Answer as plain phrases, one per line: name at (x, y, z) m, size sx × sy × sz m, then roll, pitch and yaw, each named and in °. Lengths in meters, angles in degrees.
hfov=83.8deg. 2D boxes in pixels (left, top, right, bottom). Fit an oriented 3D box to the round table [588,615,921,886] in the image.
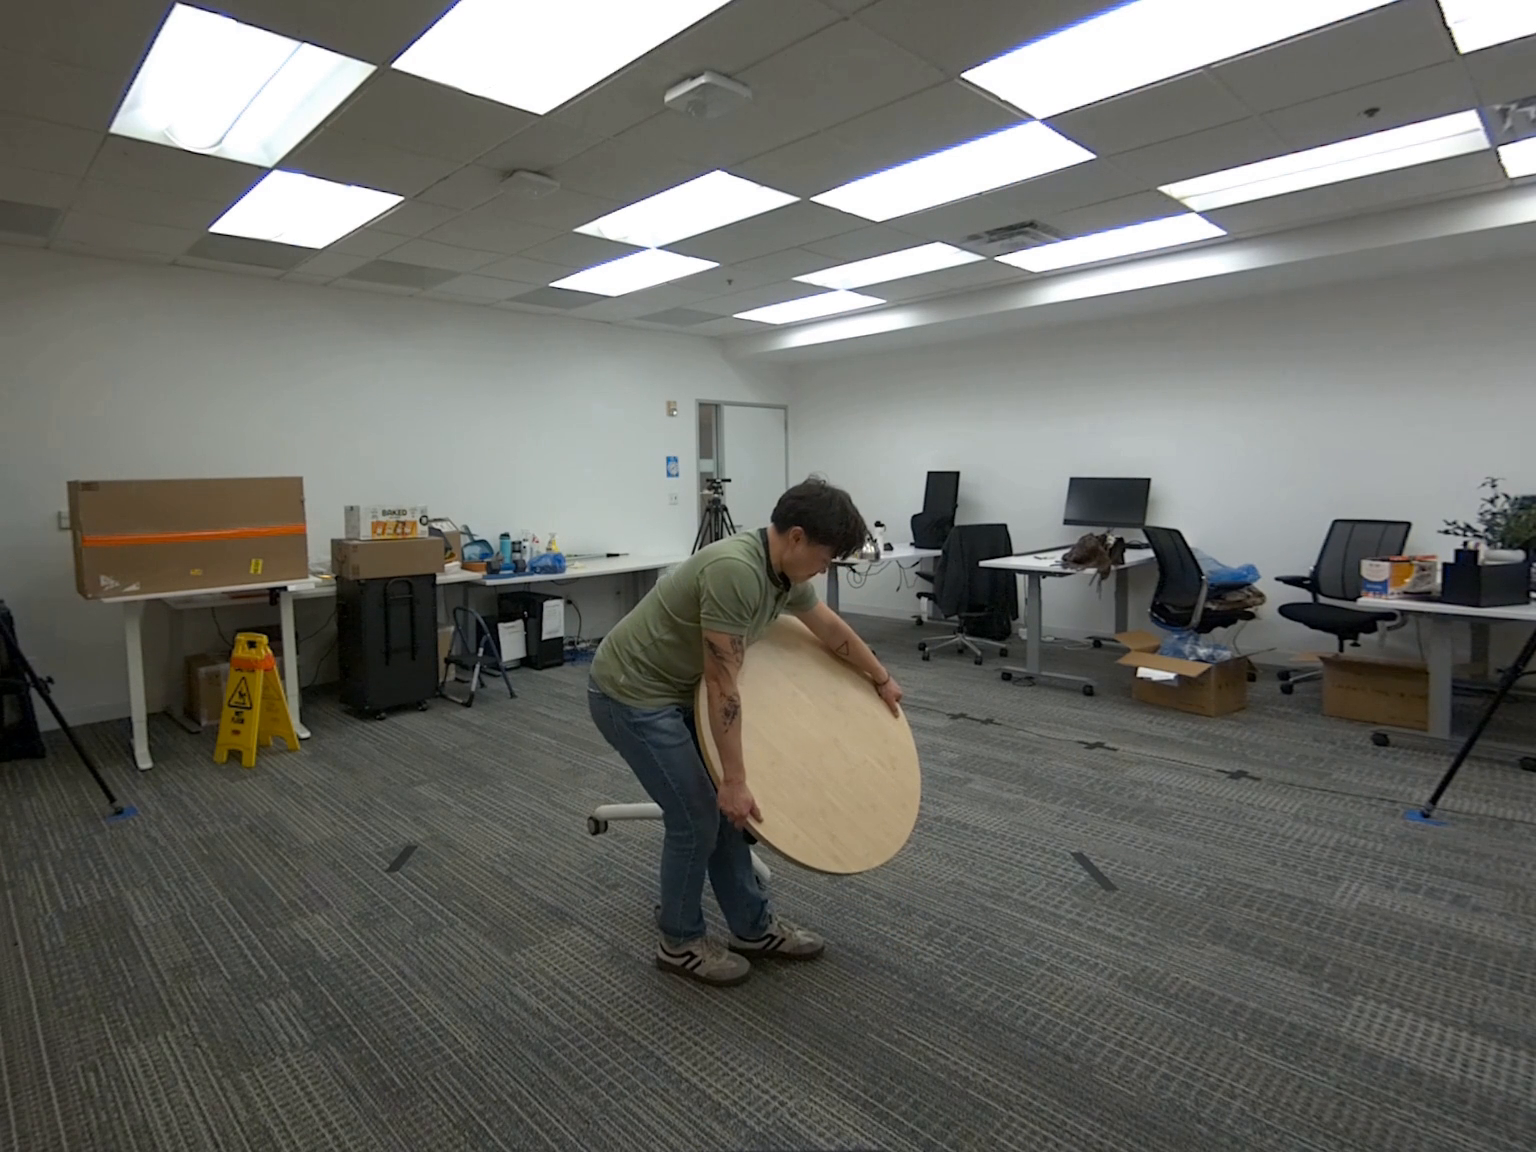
round table at (-0.078, 0.645, 2.692) m, size 0.744 × 0.784 × 0.795 m, roll -5°, pitch -29°, yaw -42°
